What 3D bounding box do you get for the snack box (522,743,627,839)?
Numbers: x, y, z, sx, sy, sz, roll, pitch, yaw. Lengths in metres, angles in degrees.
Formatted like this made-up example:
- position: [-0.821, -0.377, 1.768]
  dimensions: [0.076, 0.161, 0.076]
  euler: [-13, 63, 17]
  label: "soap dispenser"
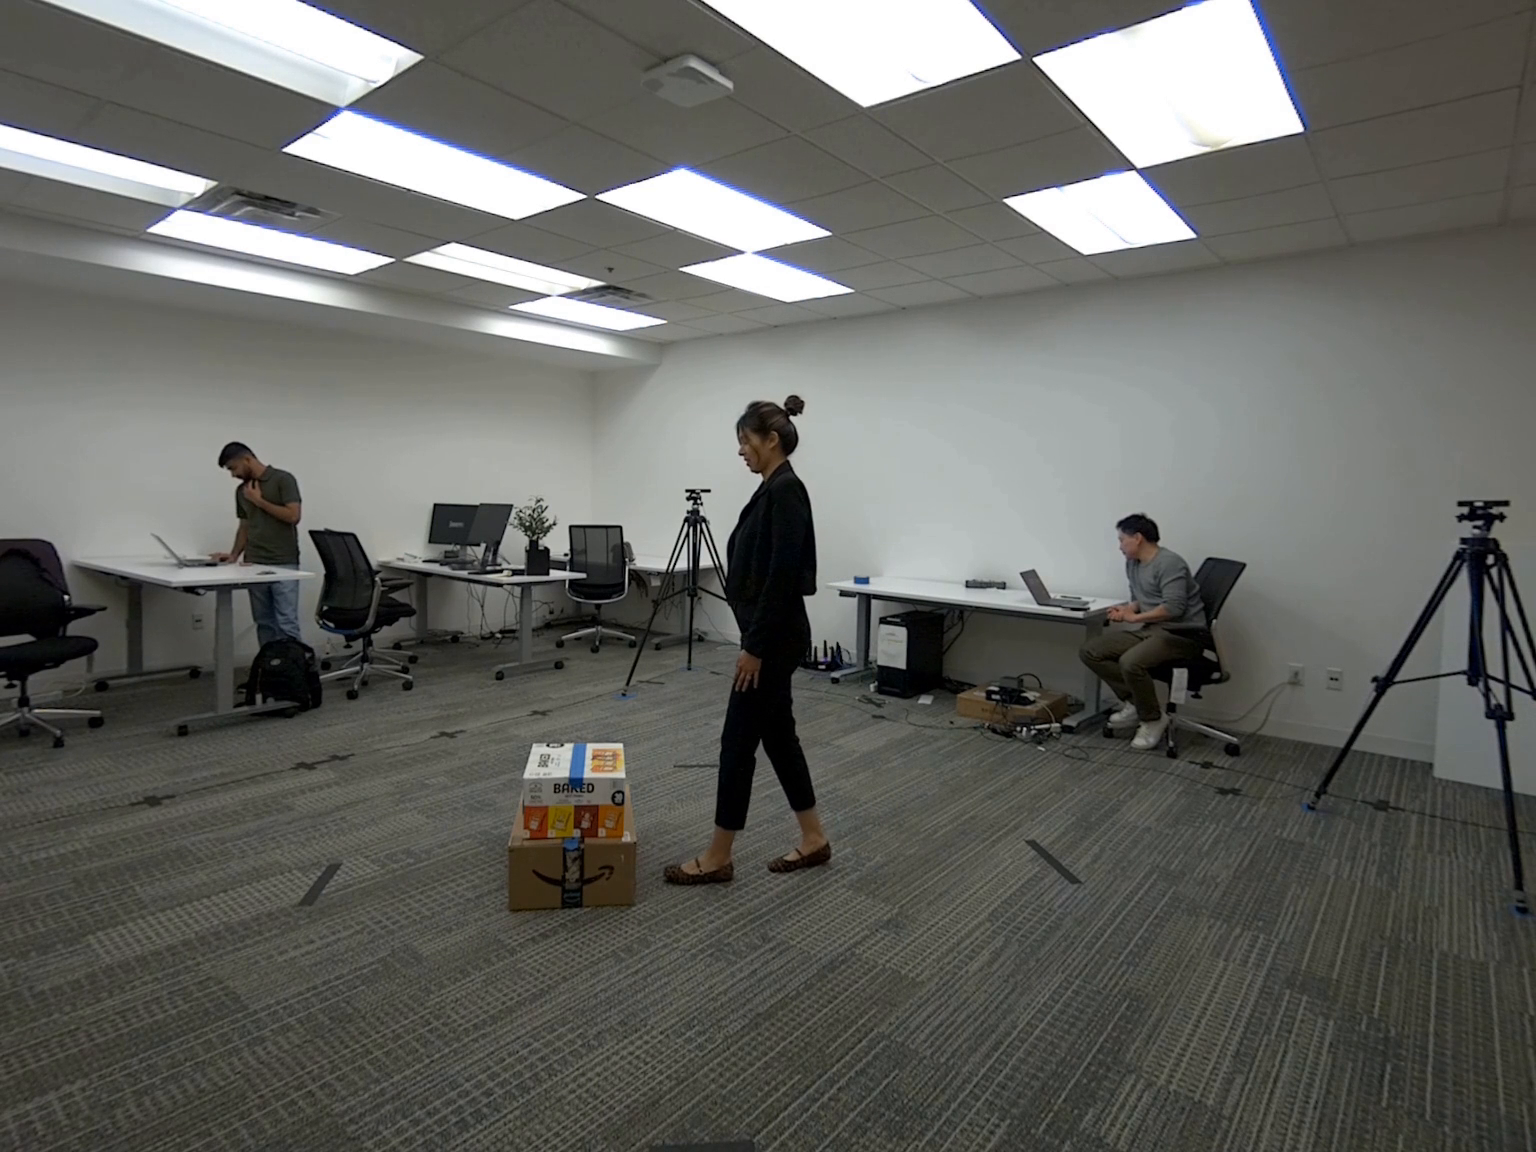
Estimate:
- position: [-0.699, 0.755, 3.044]
  dimensions: [0.337, 0.205, 0.411]
  euler: [2, 5, -10]
  label: "snack box"
